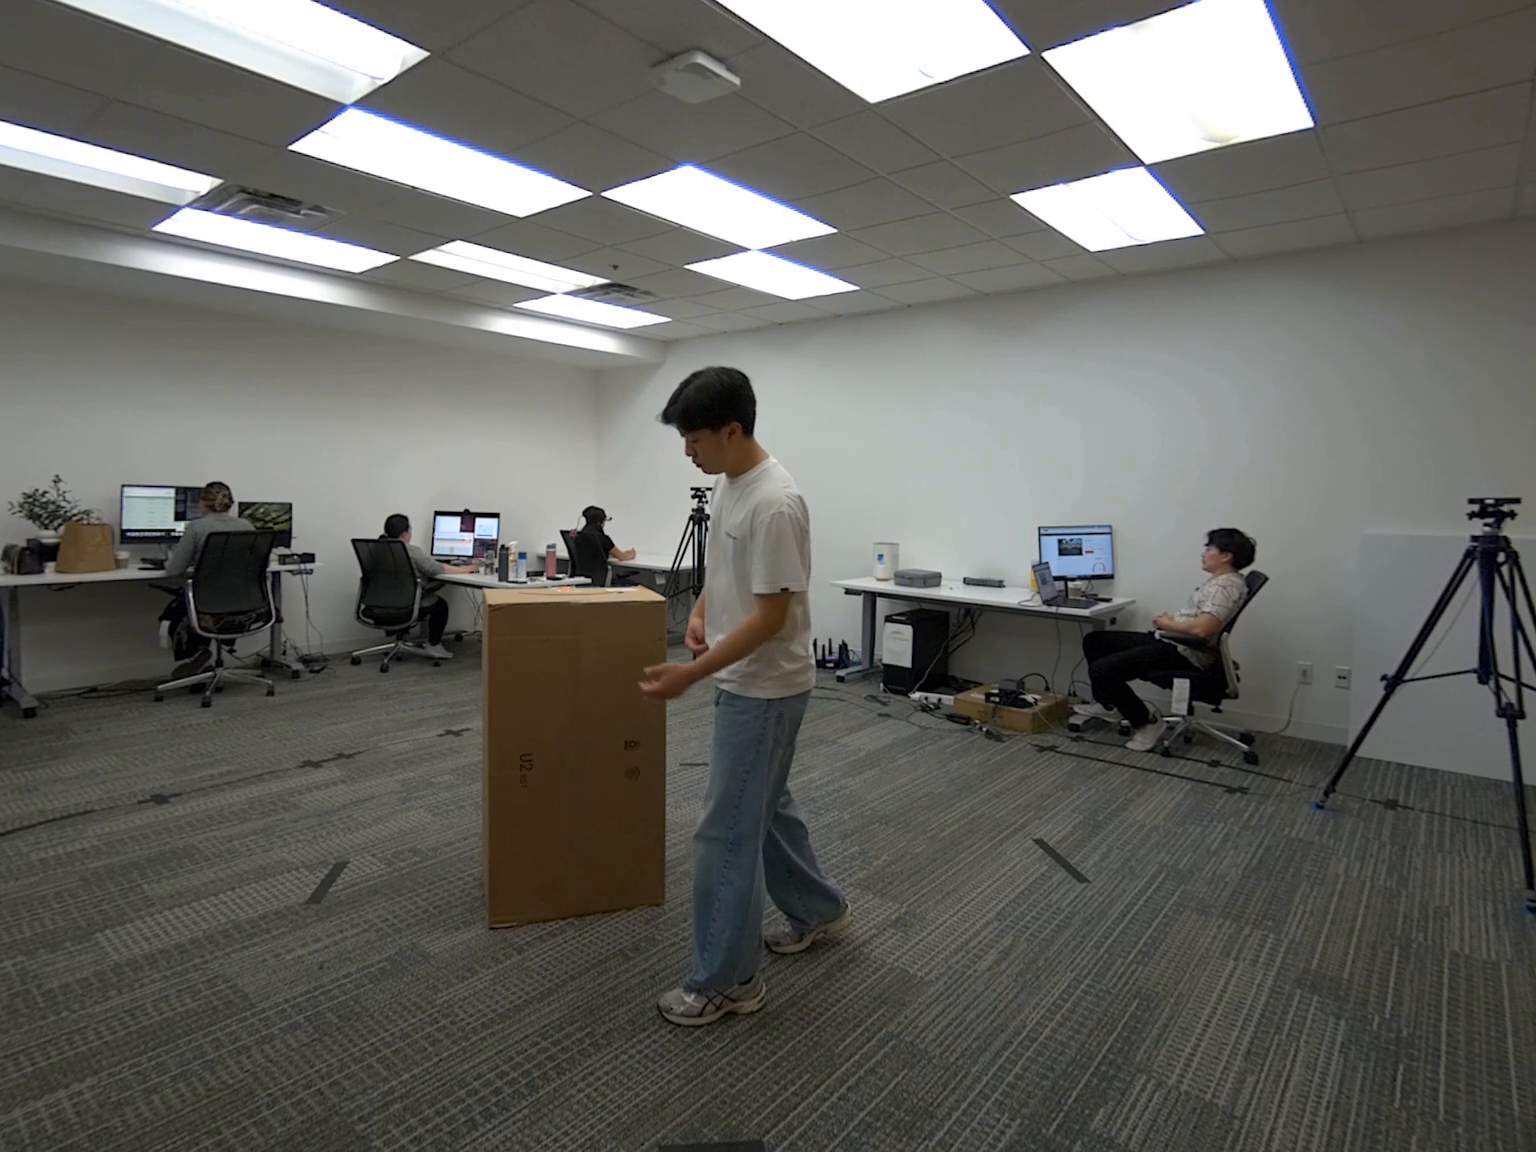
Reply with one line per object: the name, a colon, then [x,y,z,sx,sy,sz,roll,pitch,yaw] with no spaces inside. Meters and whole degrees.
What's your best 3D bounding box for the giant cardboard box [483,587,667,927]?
giant cardboard box: [-0.688,0.568,2.916,0.566,1.023,0.436,-1,3,-21]
